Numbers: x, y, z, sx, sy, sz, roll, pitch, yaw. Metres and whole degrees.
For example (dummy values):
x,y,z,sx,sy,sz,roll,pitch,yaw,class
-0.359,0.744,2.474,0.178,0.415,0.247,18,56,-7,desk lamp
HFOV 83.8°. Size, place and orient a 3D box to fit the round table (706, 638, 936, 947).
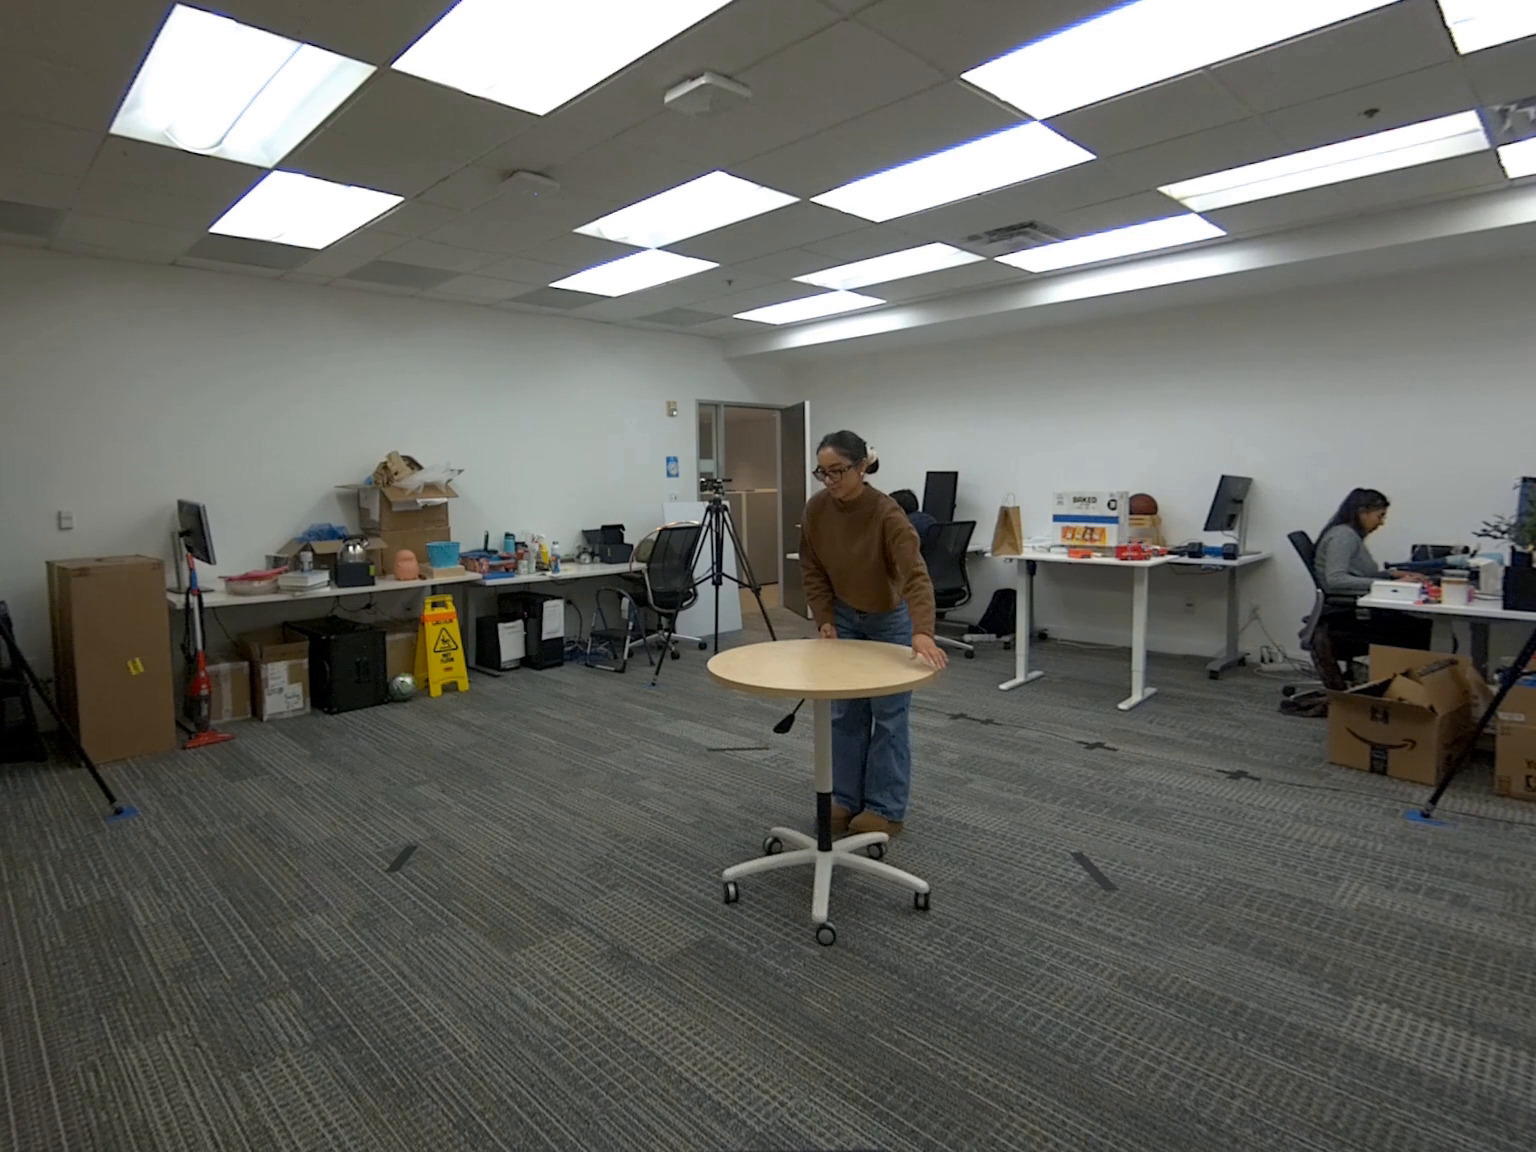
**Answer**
x,y,z,sx,sy,sz,roll,pitch,yaw,class
0.189,0.676,2.878,0.763,0.791,0.768,-2,5,-2,round table
